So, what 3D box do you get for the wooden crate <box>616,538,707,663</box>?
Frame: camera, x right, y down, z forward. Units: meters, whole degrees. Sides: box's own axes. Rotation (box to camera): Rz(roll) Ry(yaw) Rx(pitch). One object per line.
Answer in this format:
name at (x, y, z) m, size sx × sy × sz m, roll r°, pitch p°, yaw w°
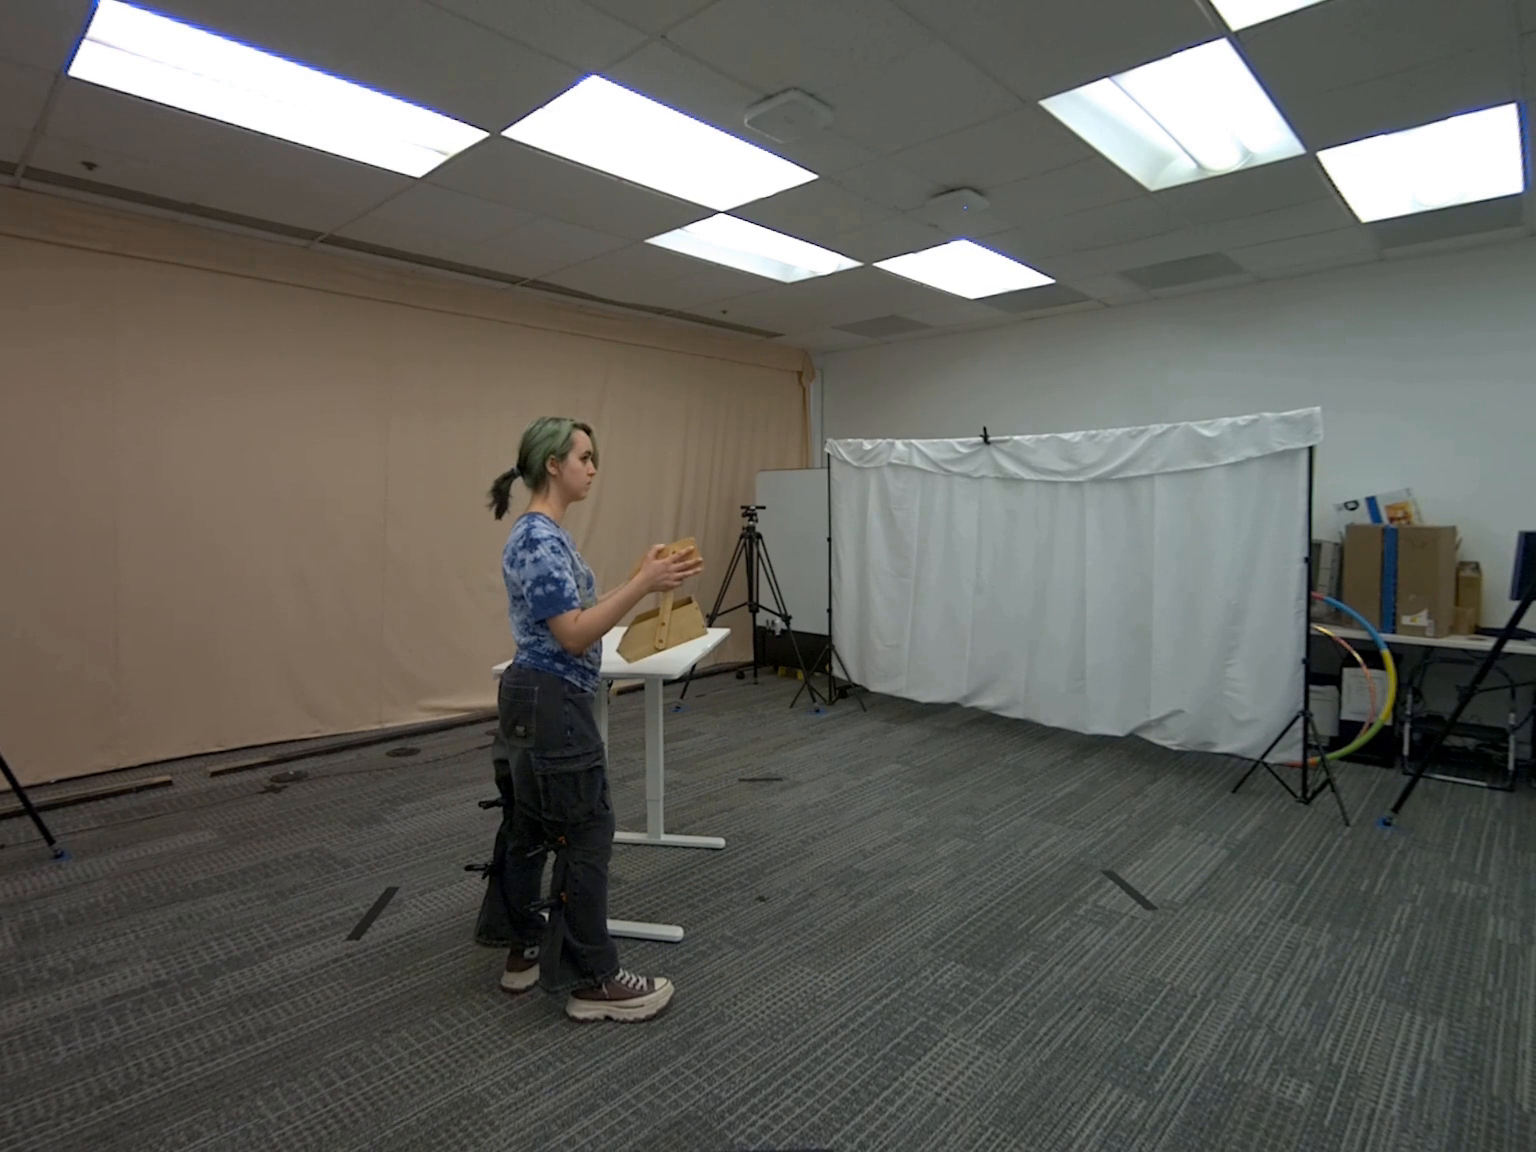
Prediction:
wooden crate at (-0.330, 0.067, 2.401) m, size 0.301 × 0.273 × 0.326 m, roll -19°, pitch 2°, yaw -5°
